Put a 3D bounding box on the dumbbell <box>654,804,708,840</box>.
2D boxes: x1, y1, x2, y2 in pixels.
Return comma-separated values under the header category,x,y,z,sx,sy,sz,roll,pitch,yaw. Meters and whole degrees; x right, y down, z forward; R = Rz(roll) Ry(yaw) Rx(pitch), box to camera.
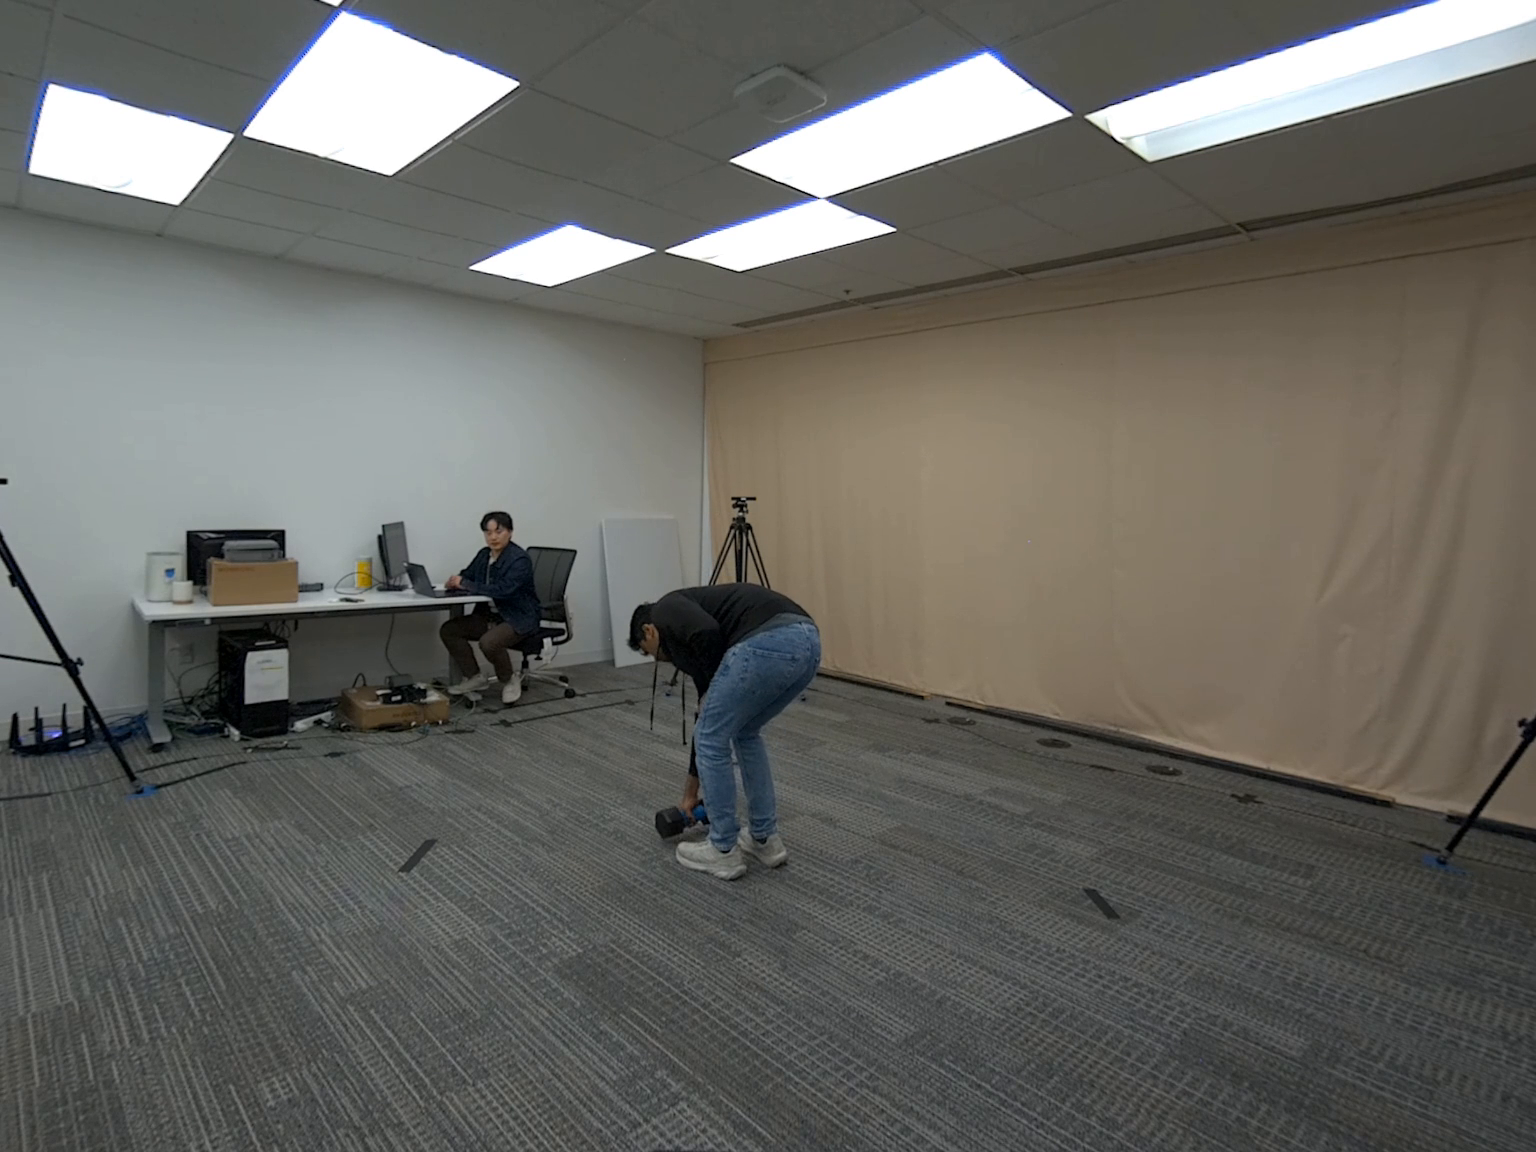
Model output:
category,x,y,z,sx,sy,sz,roll,pitch,yaw
dumbbell,-0.322,0.971,3.444,0.287,0.110,0.124,-4,-20,-40
